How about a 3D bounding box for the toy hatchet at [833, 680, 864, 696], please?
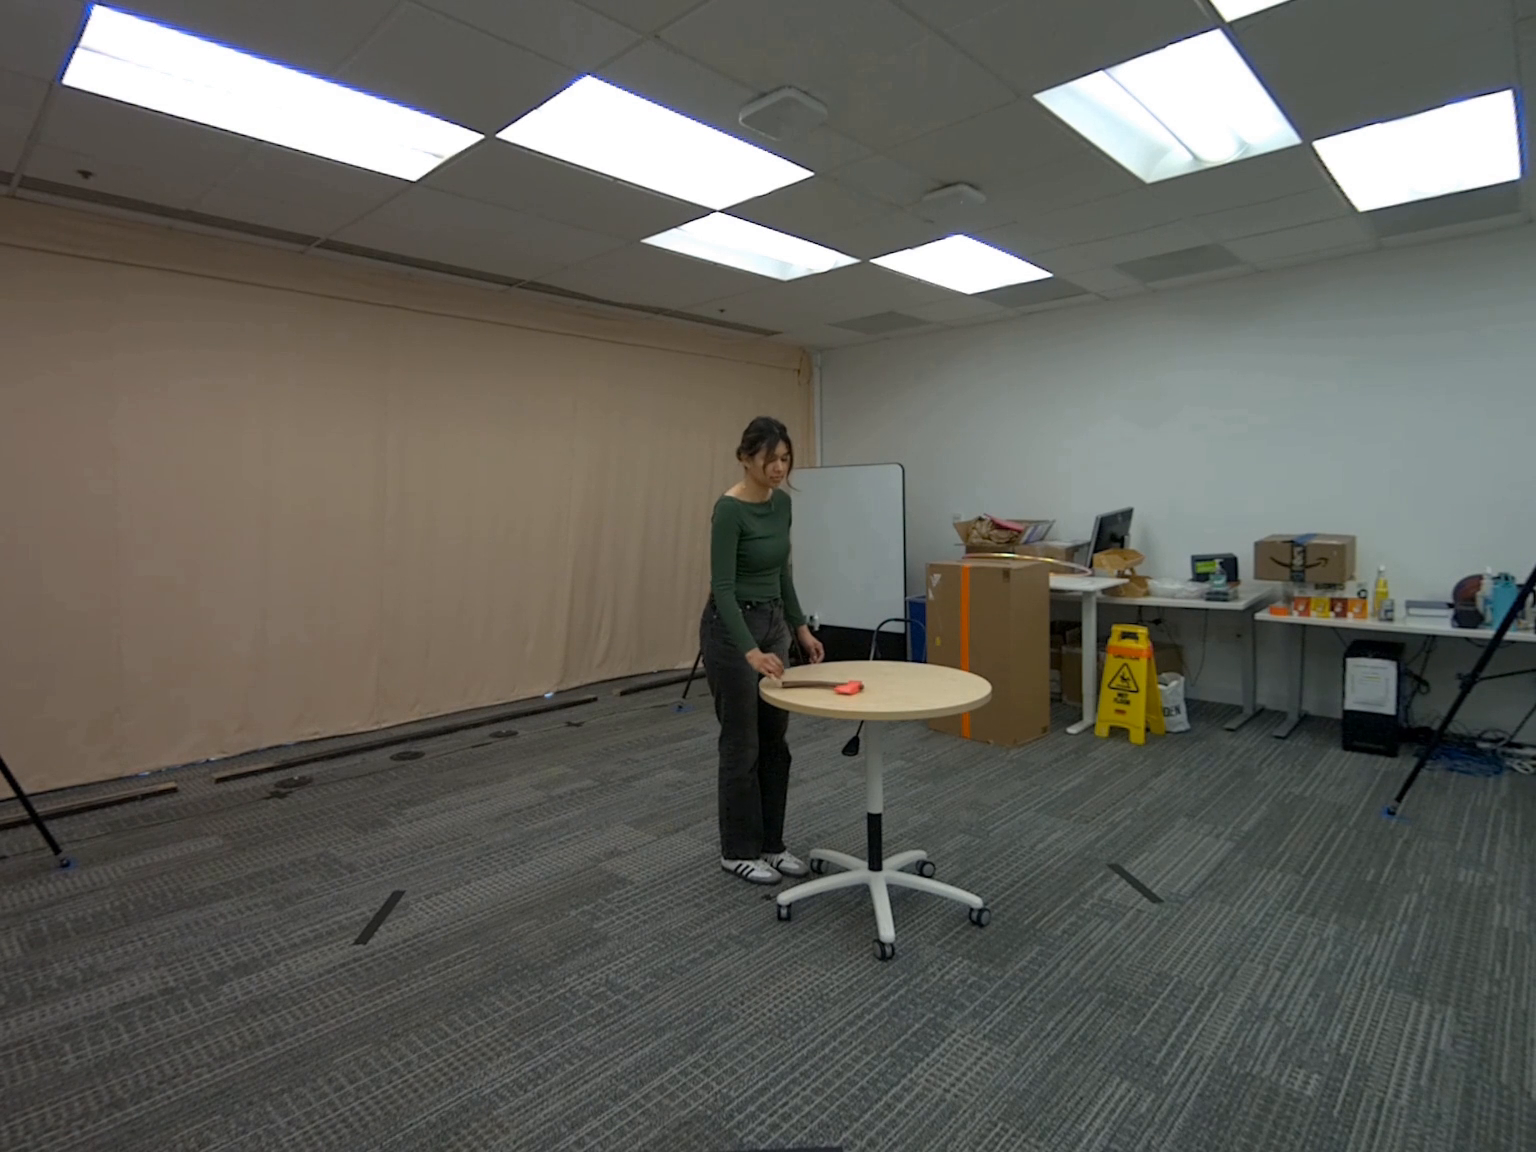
[{"bbox_3d":[0.185,0.364,2.740,0.272,0.029,0.130,-2,8,8],"label":"toy hatchet"}]
